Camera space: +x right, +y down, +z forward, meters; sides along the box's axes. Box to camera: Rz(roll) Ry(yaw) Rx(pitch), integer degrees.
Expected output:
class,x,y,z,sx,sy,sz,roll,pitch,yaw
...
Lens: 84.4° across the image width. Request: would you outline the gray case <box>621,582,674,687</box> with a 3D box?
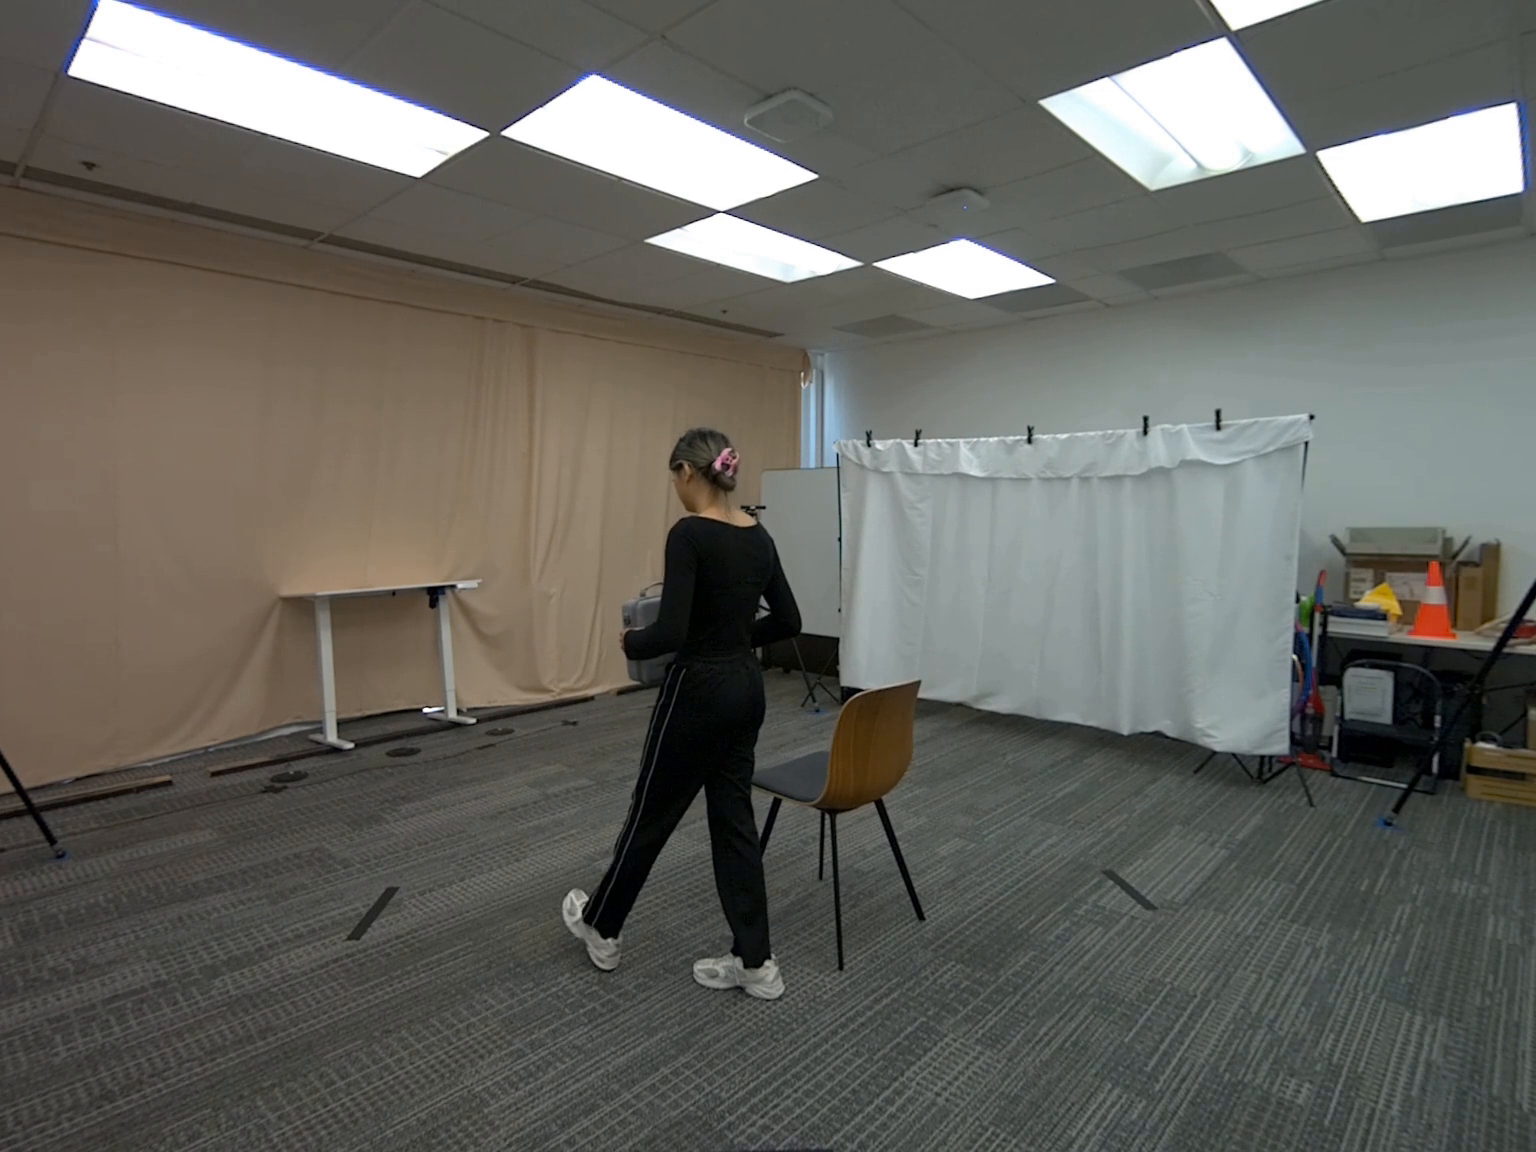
class,x,y,z,sx,sy,sz,roll,pitch,yaw
gray case,-0.322,0.178,2.574,0.249,0.260,0.107,-6,3,-45
